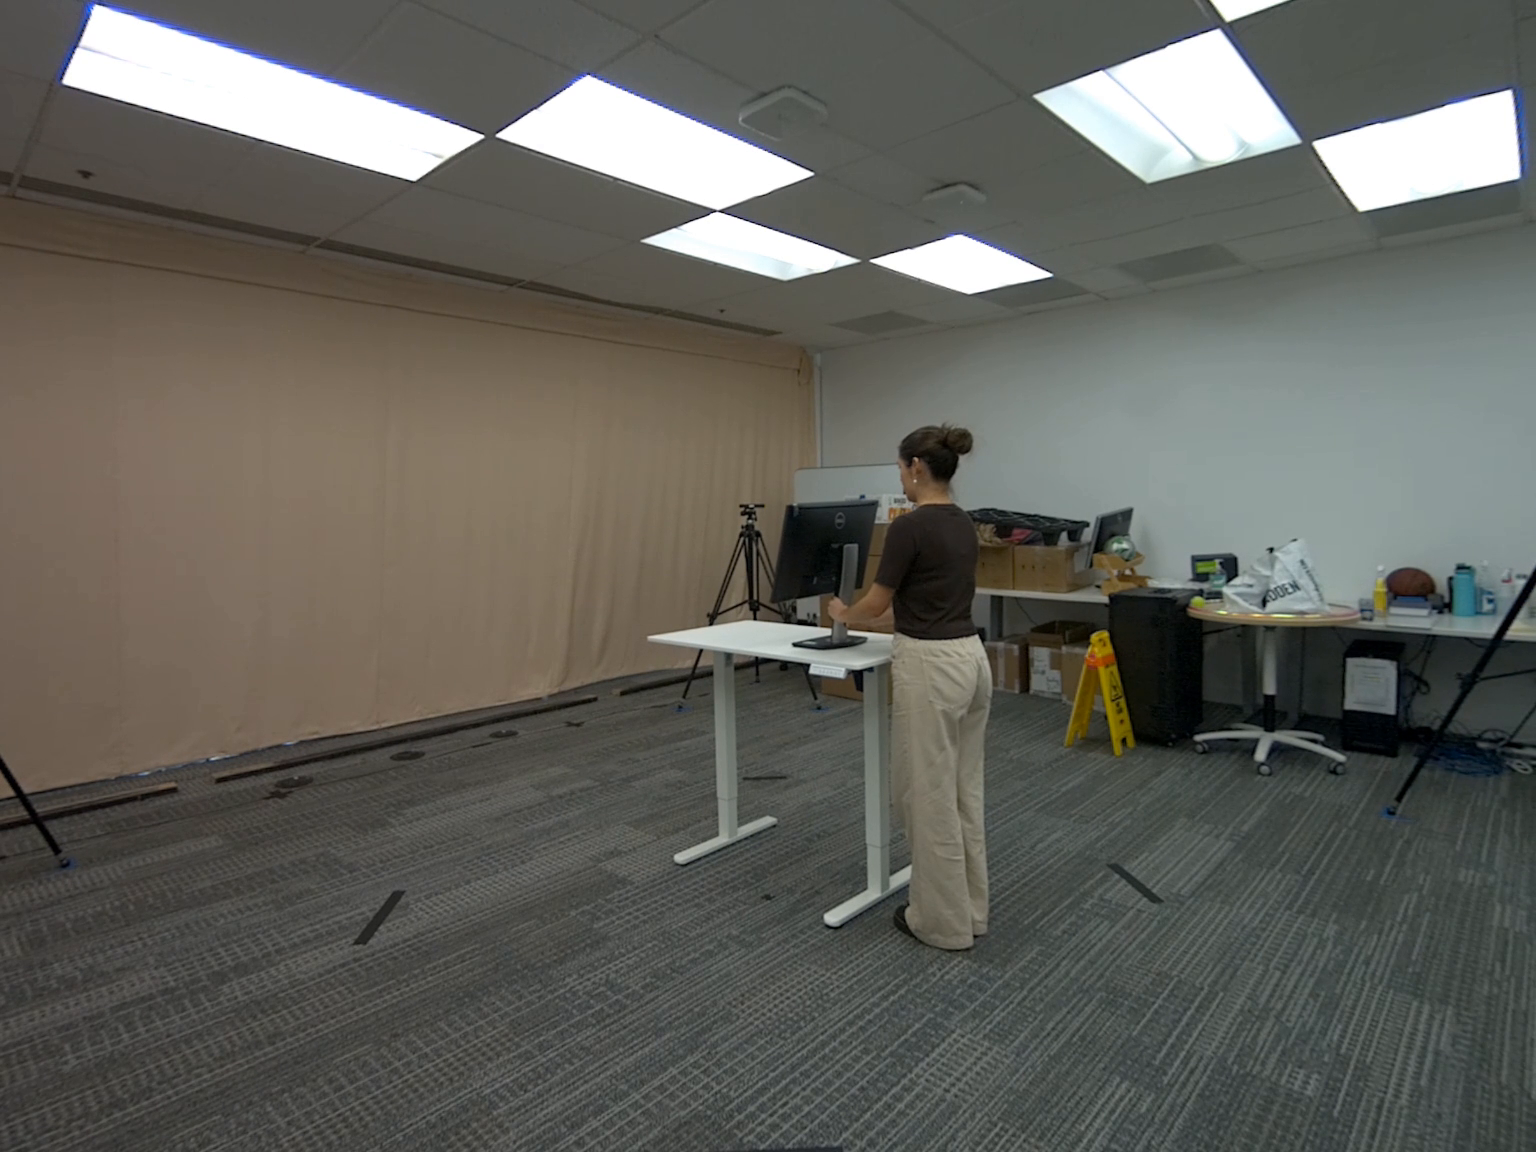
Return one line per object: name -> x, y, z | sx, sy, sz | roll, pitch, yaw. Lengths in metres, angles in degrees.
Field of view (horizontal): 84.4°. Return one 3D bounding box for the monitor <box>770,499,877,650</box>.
monitor -> 0.234, -0.011, 3.036 | 0.180, 0.515, 0.514 | -3, 3, 41
